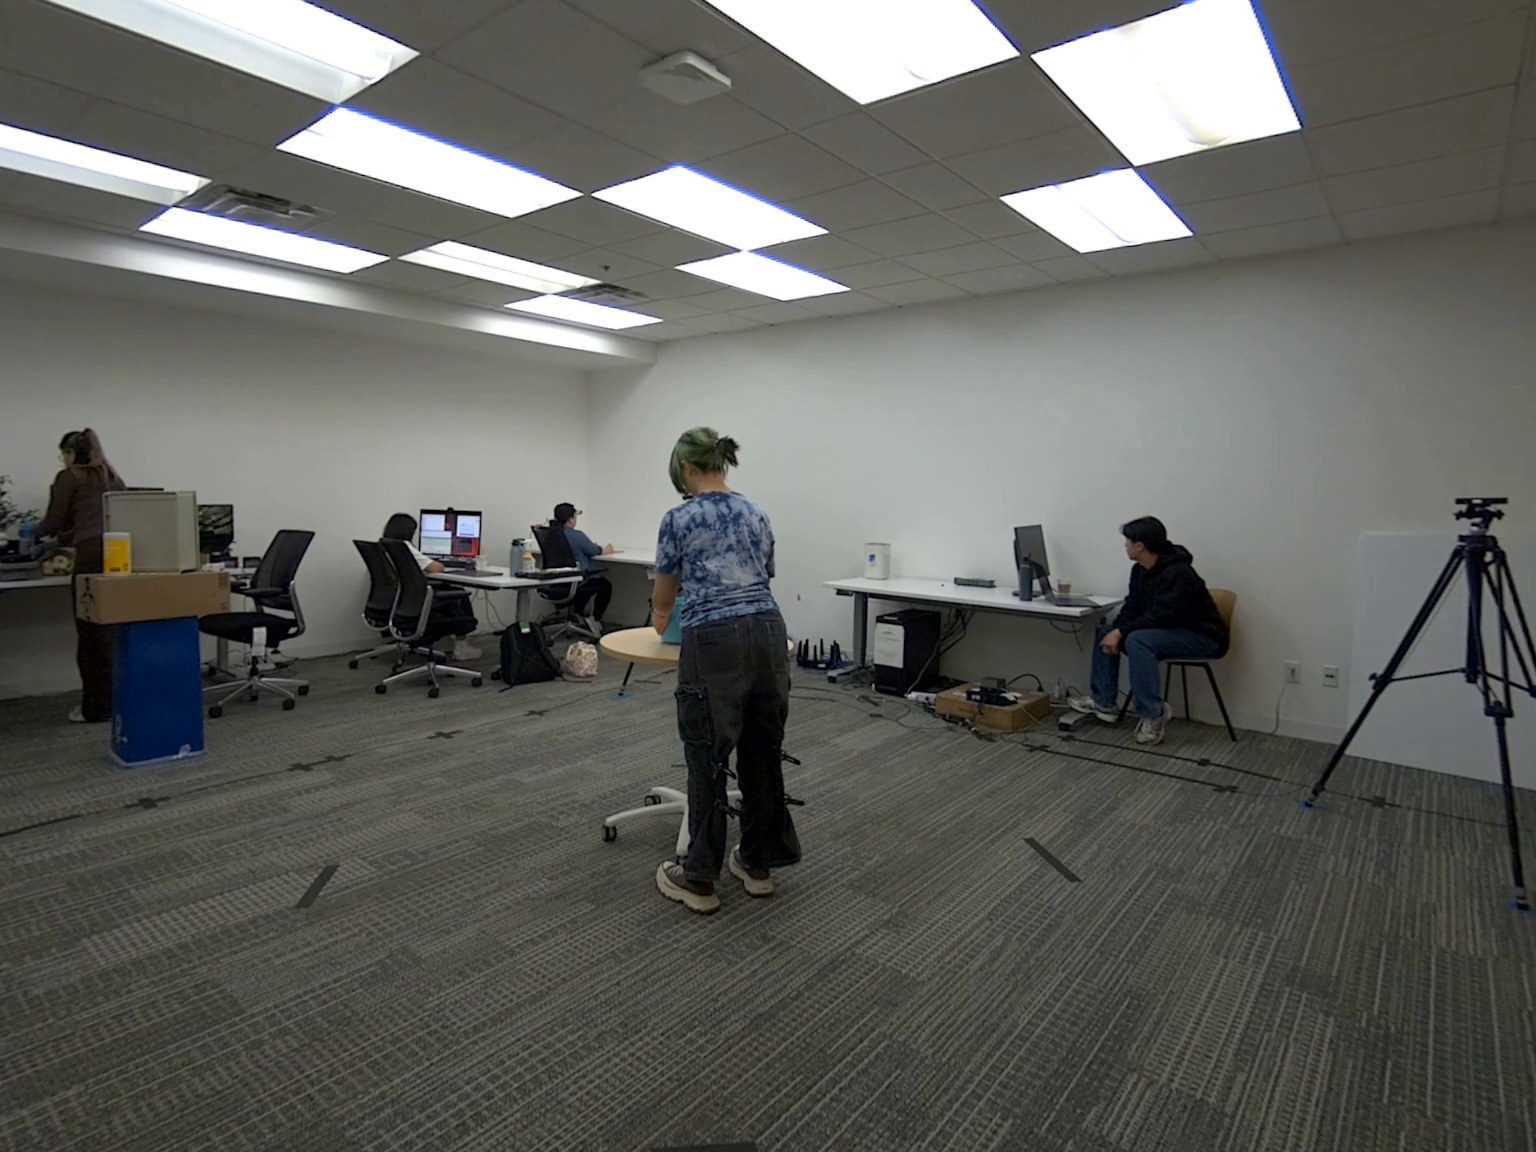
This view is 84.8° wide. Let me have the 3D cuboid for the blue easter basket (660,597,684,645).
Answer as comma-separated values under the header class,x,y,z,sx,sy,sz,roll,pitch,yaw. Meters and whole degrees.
class,x,y,z,sx,sy,sz,roll,pitch,yaw
blue easter basket,-0.359,0.176,3.352,0.243,0.155,0.245,0,5,-2
